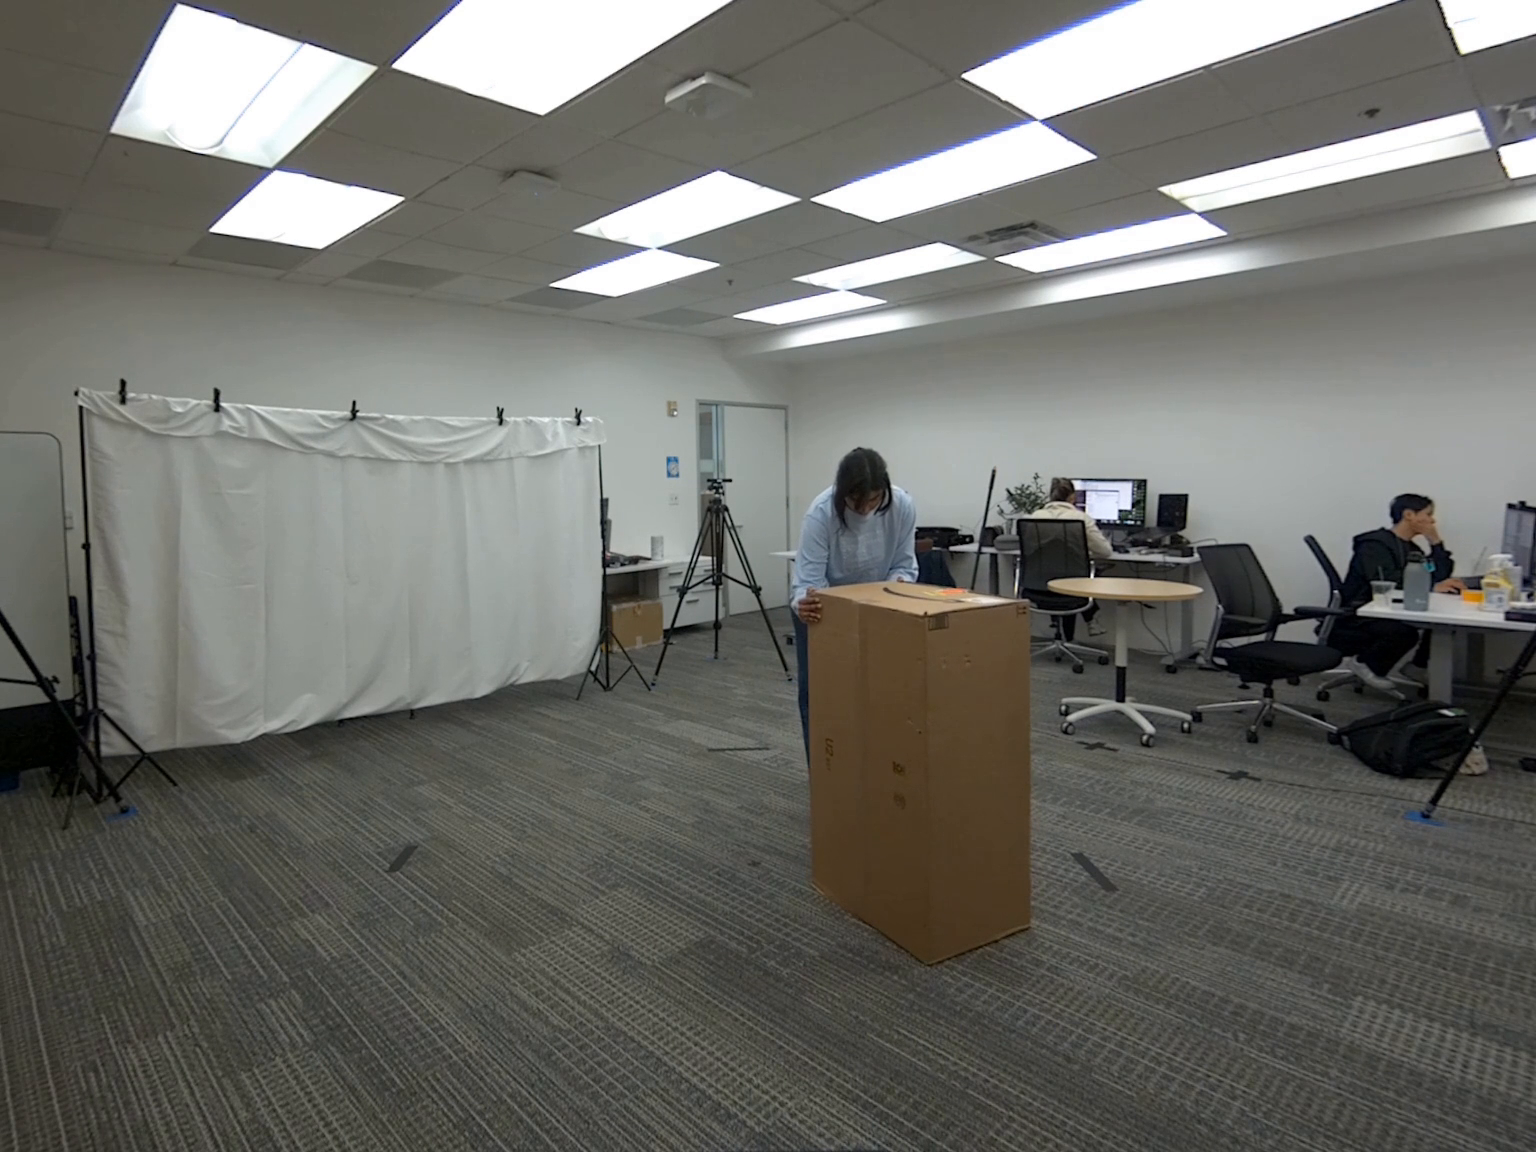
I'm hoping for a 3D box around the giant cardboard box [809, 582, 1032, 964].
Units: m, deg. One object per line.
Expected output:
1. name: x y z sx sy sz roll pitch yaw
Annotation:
1. giant cardboard box: 0.474 0.575 2.748 0.416 1.022 0.594 -4 5 -32
